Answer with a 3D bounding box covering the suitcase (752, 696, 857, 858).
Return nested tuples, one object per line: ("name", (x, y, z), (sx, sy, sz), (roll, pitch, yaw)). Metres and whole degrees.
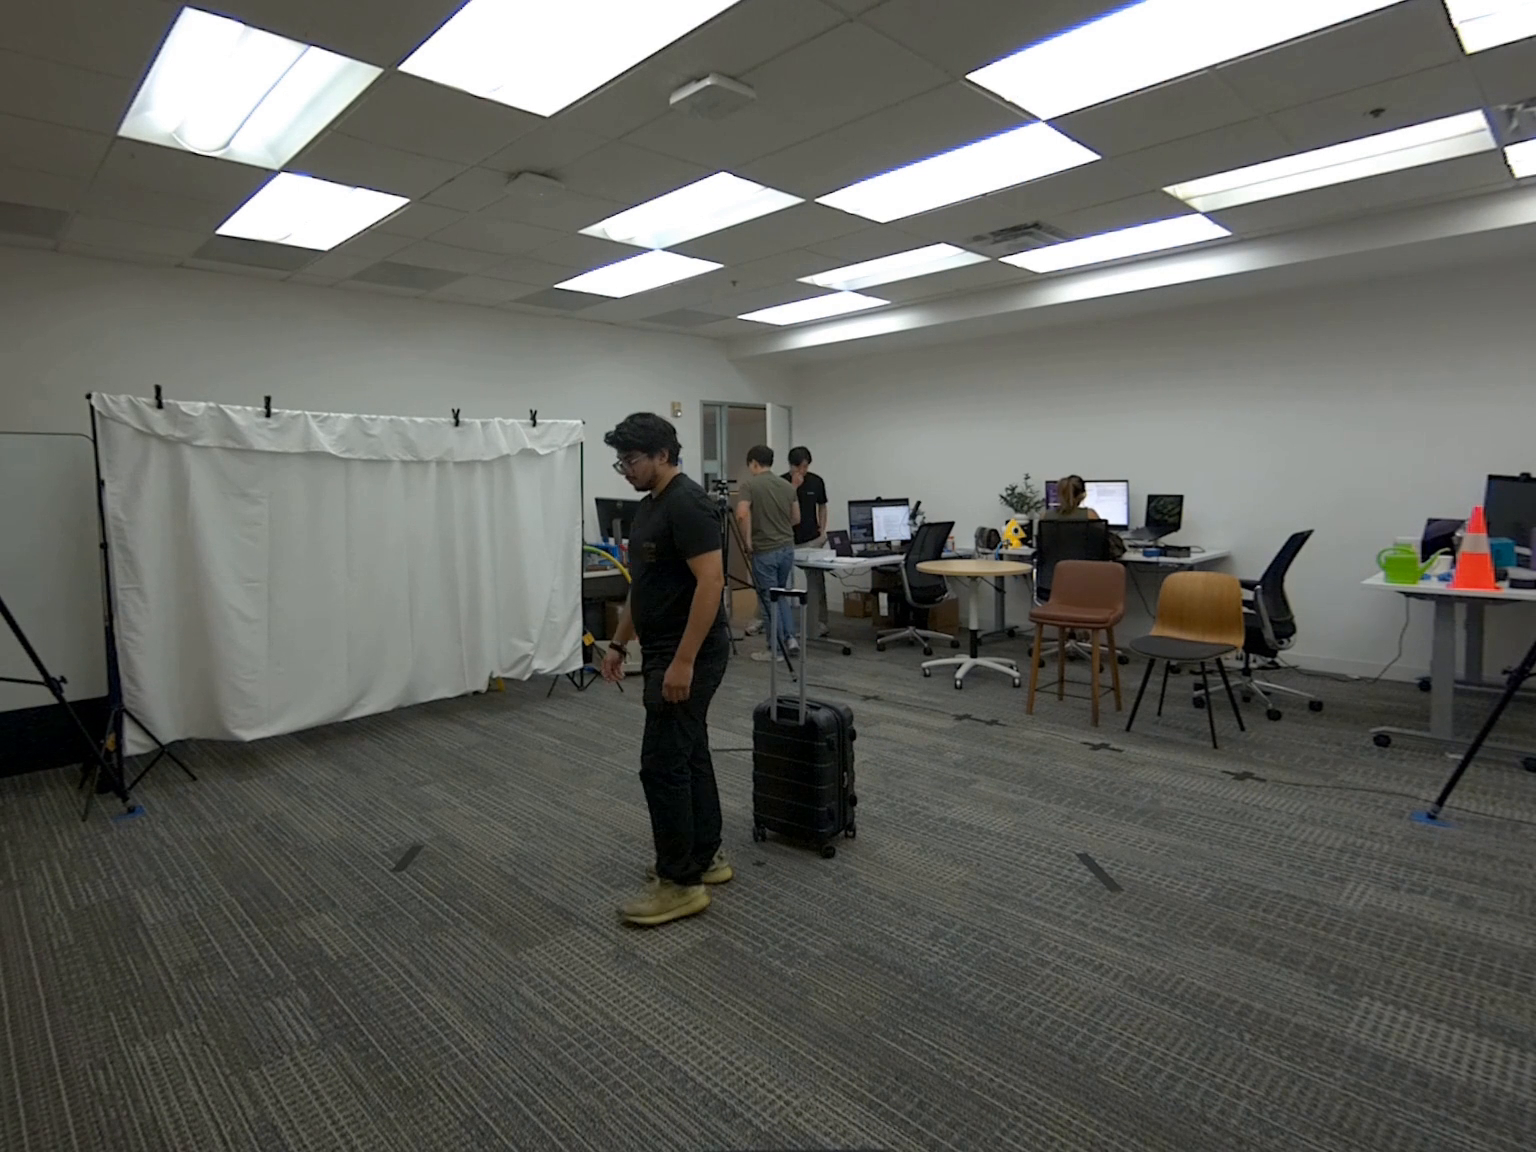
("suitcase", (0.140, 0.545, 3.310), (0.395, 0.977, 0.250), (1, 2, 34))
